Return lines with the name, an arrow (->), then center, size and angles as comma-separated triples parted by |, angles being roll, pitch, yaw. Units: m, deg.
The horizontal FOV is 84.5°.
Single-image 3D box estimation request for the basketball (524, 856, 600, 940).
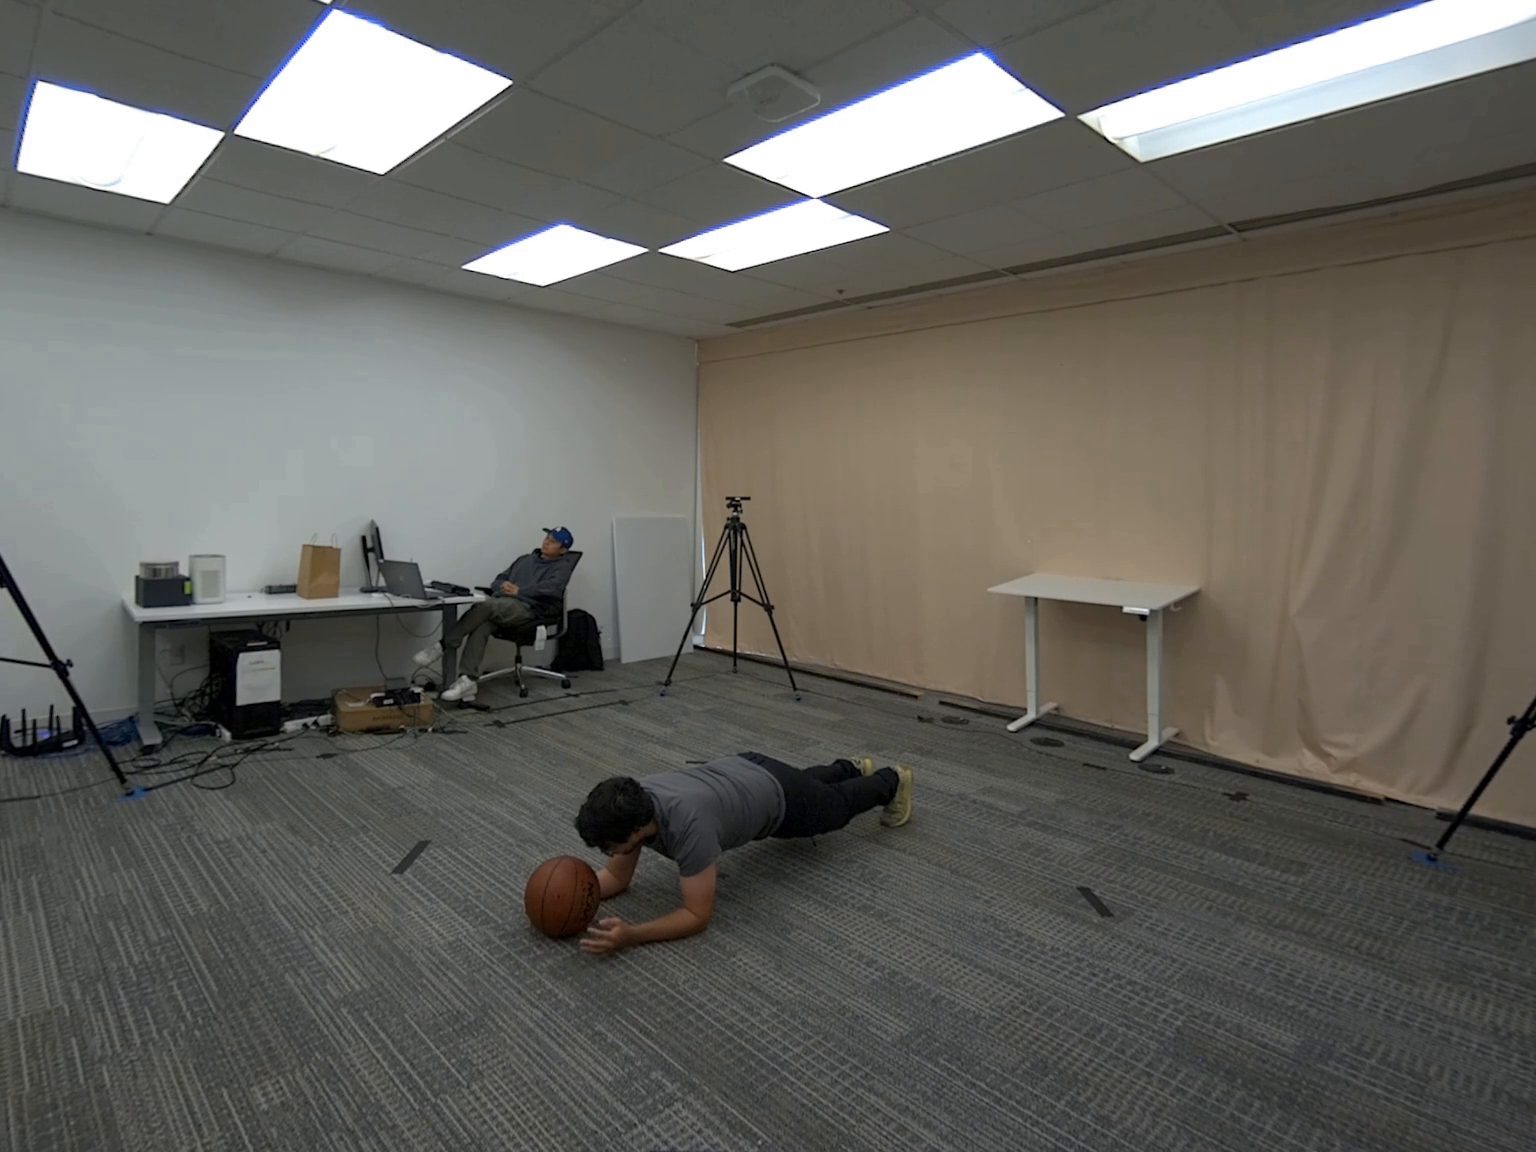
basketball -> -0.650, 1.014, 2.674 | 0.236, 0.235, 0.237 | 1, 4, -1
